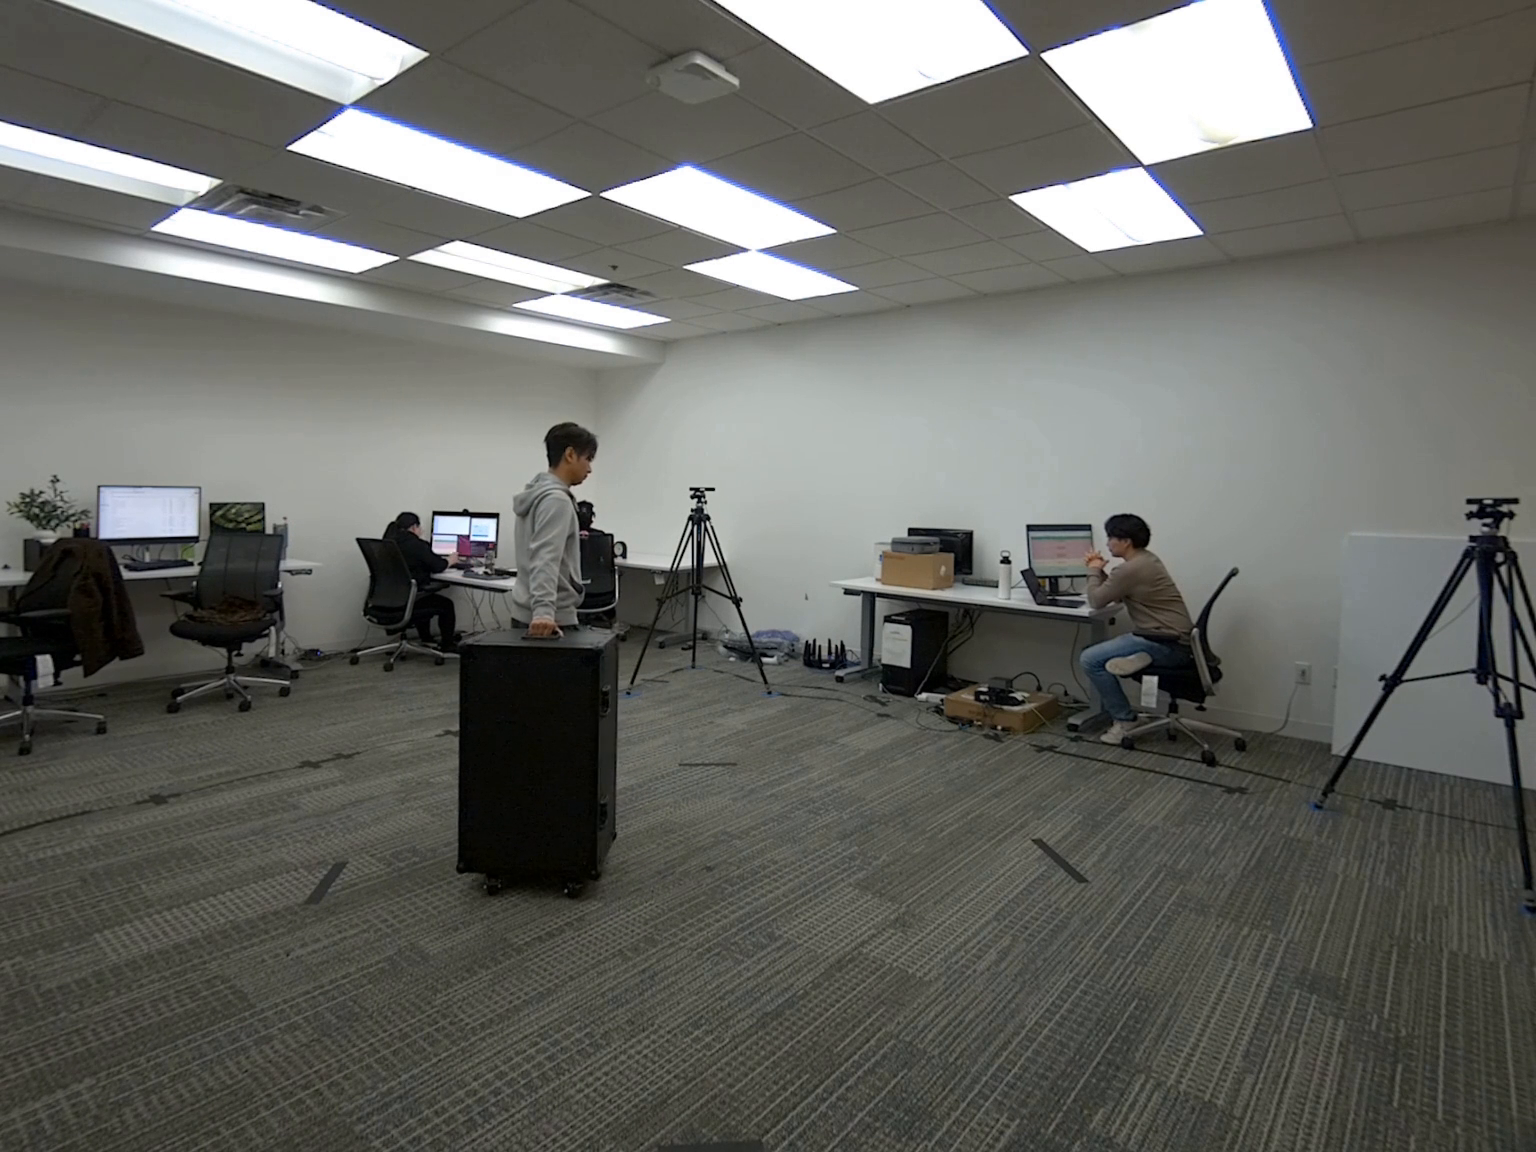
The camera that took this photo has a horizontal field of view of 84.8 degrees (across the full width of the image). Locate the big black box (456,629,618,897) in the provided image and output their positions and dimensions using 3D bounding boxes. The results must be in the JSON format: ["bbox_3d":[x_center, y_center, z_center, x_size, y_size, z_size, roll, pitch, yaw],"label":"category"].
[{"bbox_3d":[-0.817,0.642,3.028,0.523,0.860,0.396,1,2,2],"label":"big black box"}]
